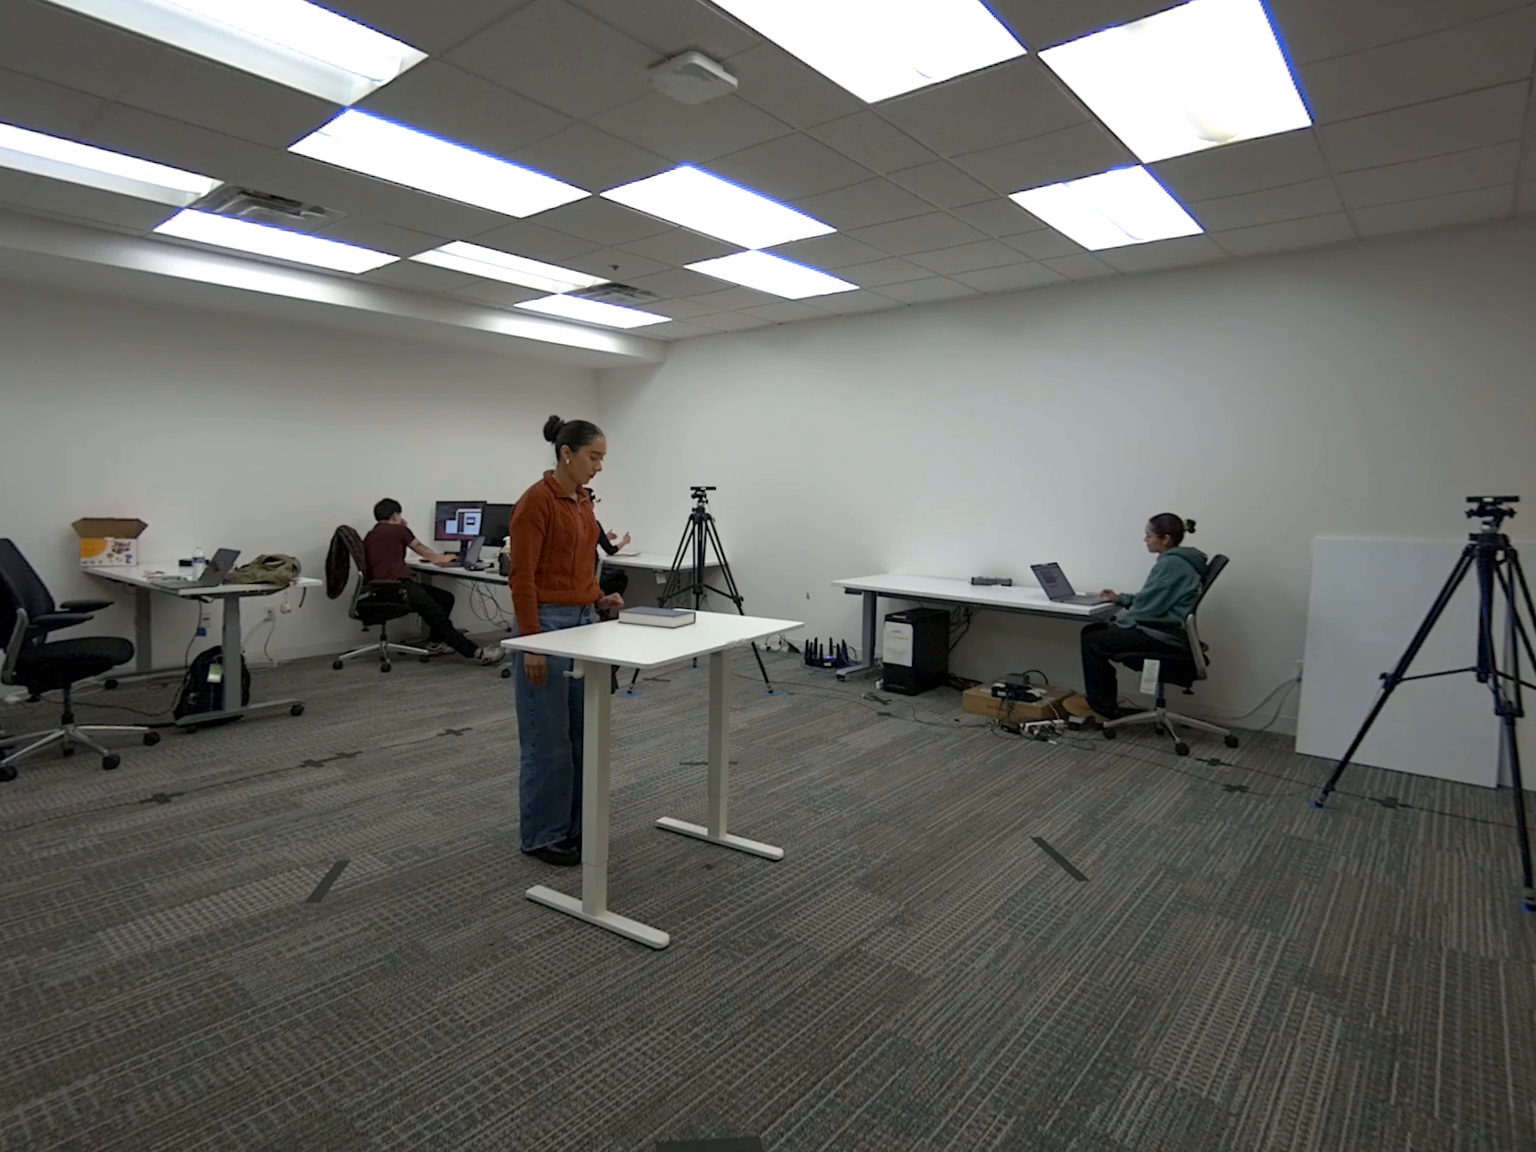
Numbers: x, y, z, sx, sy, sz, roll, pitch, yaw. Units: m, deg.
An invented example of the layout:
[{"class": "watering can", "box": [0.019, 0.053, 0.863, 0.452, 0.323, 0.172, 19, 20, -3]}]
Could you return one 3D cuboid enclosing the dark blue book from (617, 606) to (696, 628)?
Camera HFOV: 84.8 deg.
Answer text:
[{"class": "dark blue book", "box": [-0.430, 0.157, 3.175, 0.252, 0.045, 0.160, 3, 6, 26]}]
